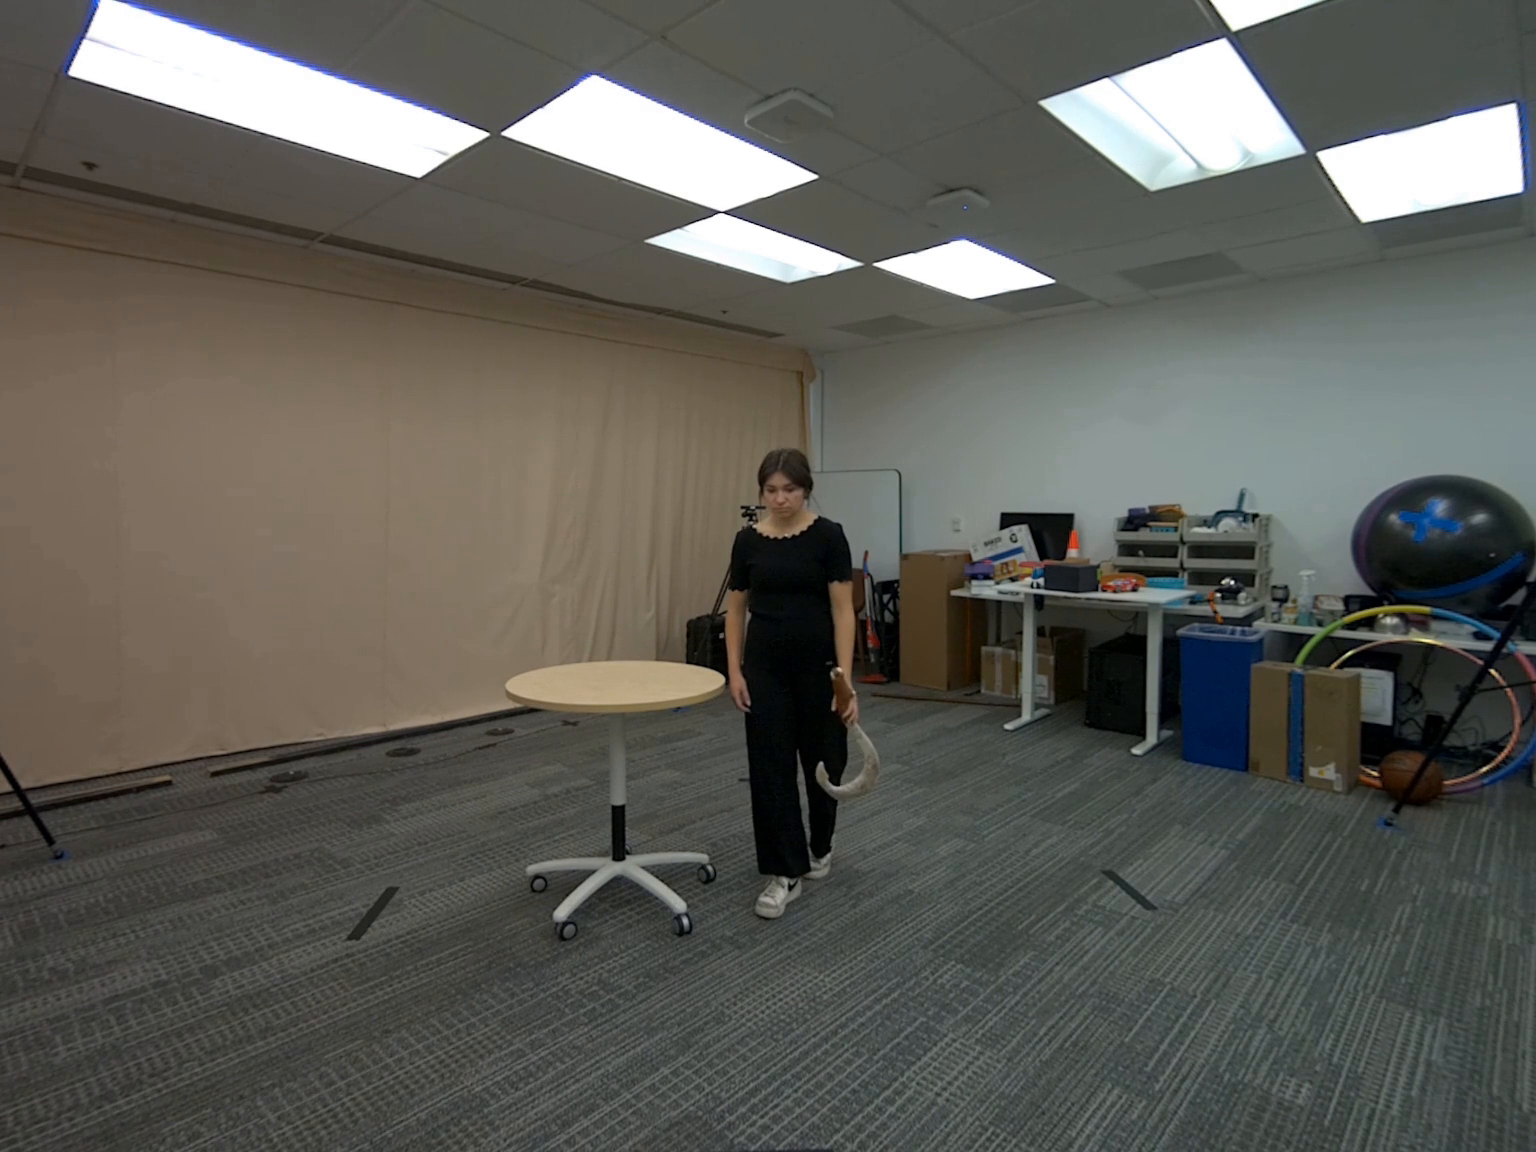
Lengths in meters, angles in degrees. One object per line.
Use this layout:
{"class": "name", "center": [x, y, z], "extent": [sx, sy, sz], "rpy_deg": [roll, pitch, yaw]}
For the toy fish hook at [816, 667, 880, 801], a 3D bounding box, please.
{"class": "toy fish hook", "center": [0.235, 0.528, 2.778], "extent": [0.223, 0.497, 0.049], "rpy_deg": [-22, 22, -12]}
